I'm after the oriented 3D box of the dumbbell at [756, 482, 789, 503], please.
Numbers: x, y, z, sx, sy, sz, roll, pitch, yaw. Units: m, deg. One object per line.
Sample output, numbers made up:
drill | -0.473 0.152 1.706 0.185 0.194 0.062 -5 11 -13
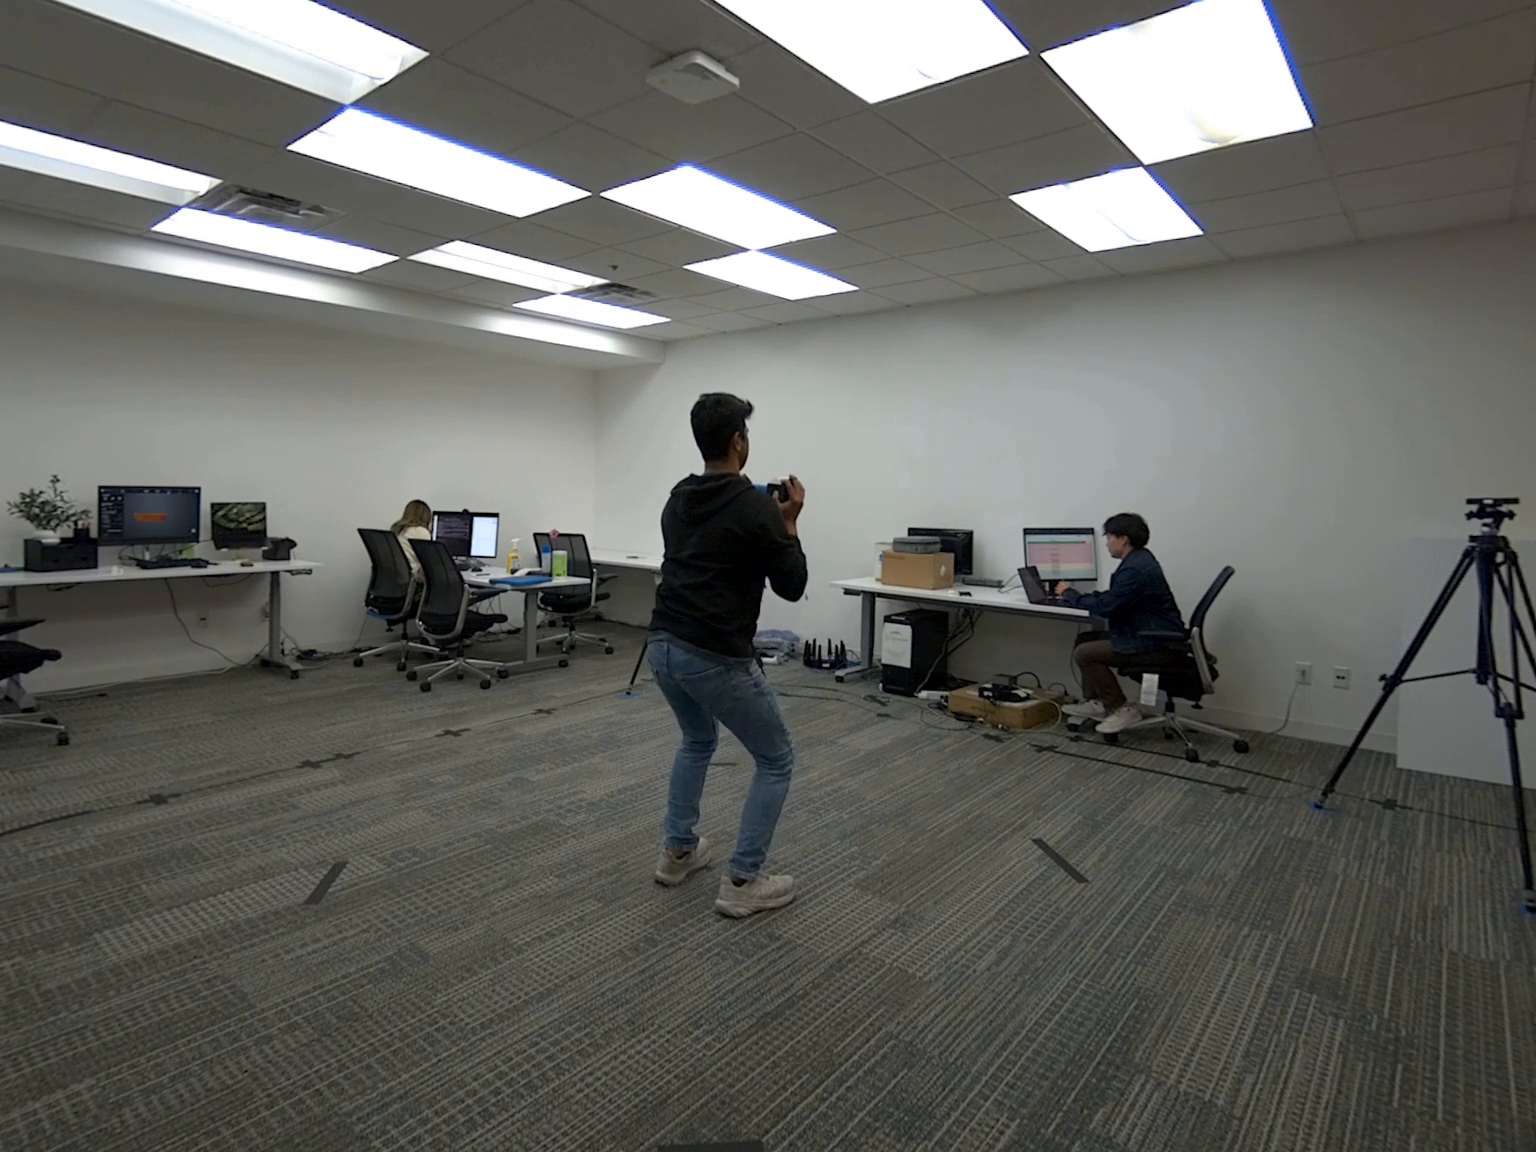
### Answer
dumbbell | -0.048 -0.292 3.031 0.304 0.123 0.105 8 4 38
